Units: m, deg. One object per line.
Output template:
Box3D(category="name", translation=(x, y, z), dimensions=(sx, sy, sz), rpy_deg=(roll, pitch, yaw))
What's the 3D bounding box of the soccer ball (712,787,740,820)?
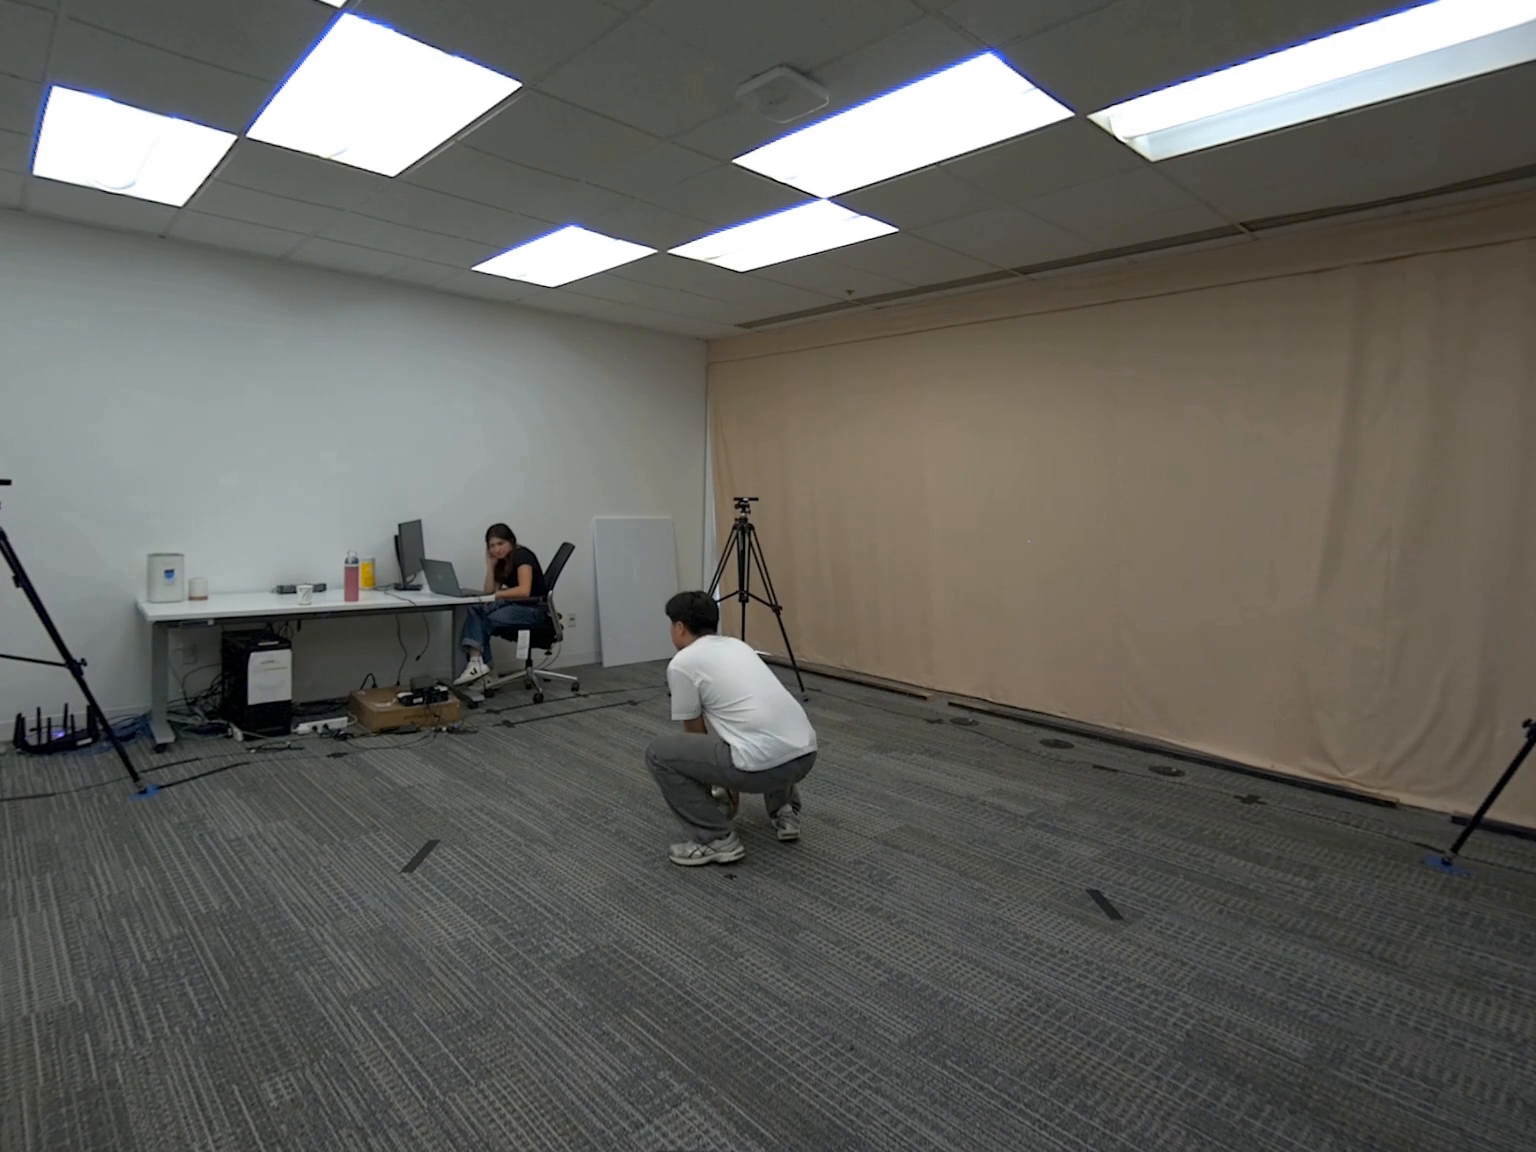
Box3D(category="soccer ball", translation=(-0.249, 0.982, 3.536), dimensions=(0.187, 0.187, 0.188), rpy_deg=(1, 4, -1))
